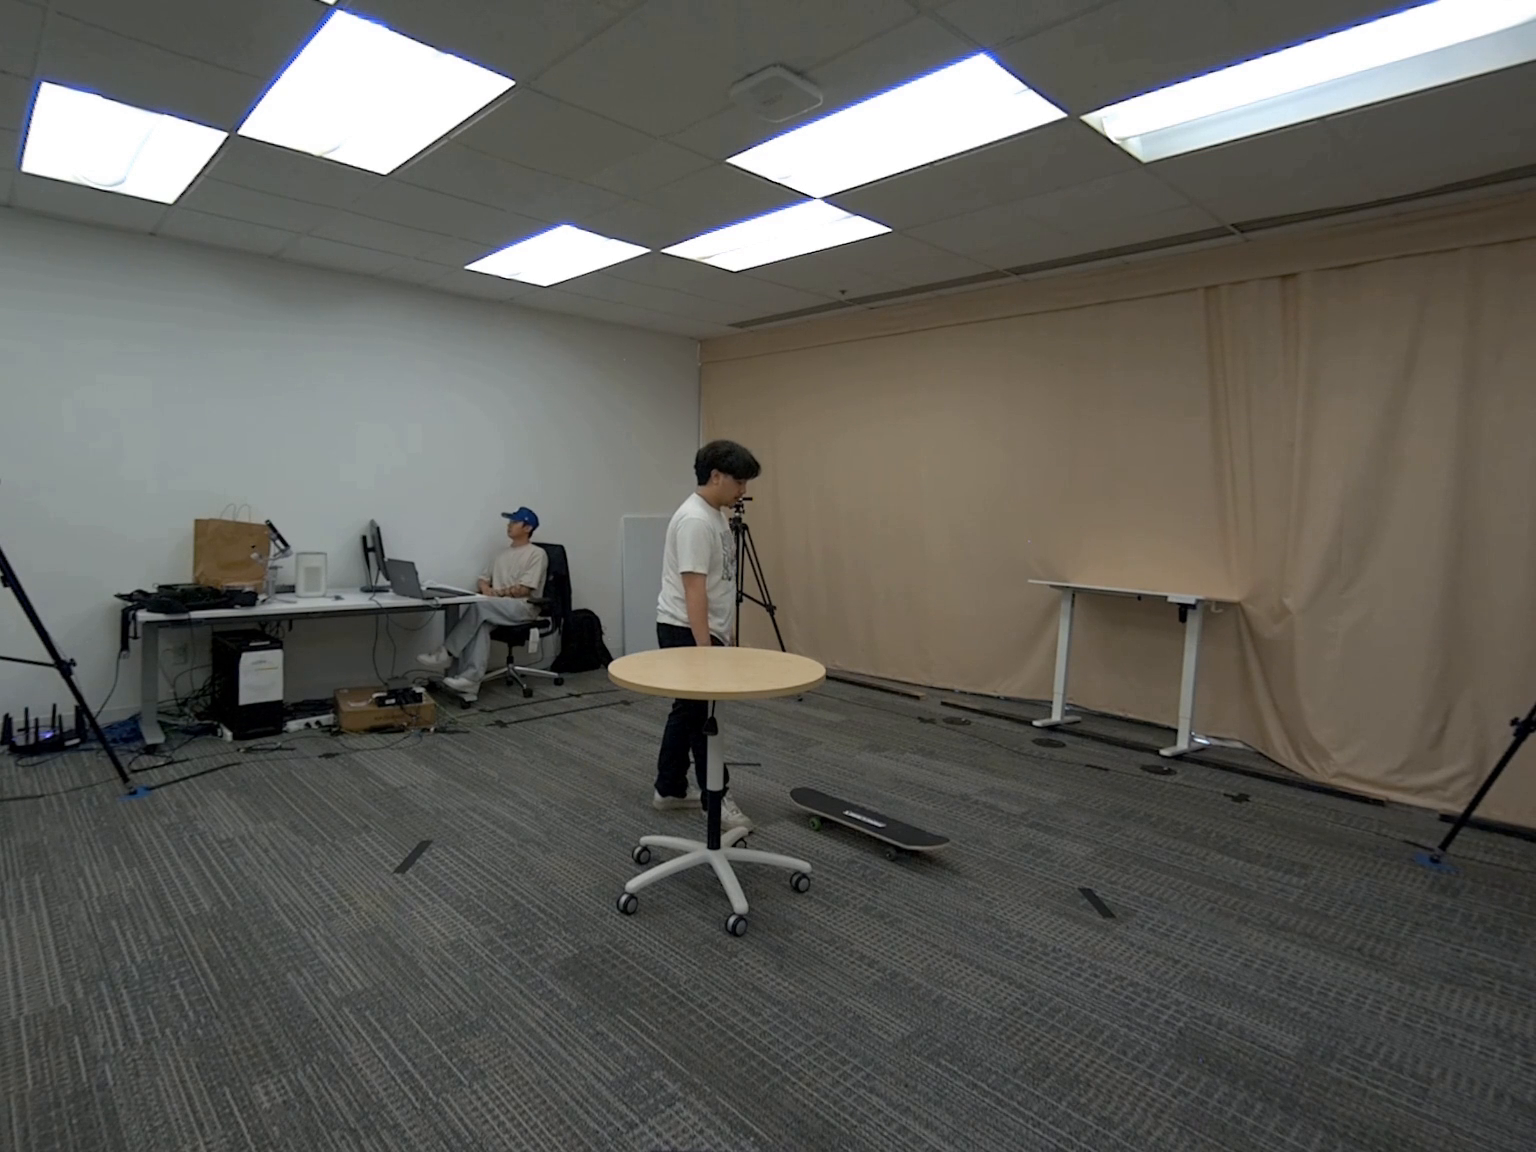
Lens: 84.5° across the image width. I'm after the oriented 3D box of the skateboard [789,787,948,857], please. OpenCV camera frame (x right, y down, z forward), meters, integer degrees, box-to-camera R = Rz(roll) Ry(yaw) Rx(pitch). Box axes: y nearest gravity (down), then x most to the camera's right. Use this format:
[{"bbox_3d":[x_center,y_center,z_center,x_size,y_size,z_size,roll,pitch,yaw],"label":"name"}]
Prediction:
[{"bbox_3d":[0.388,1.038,3.487,0.189,0.110,0.806,-2,6,-43],"label":"skateboard"}]
